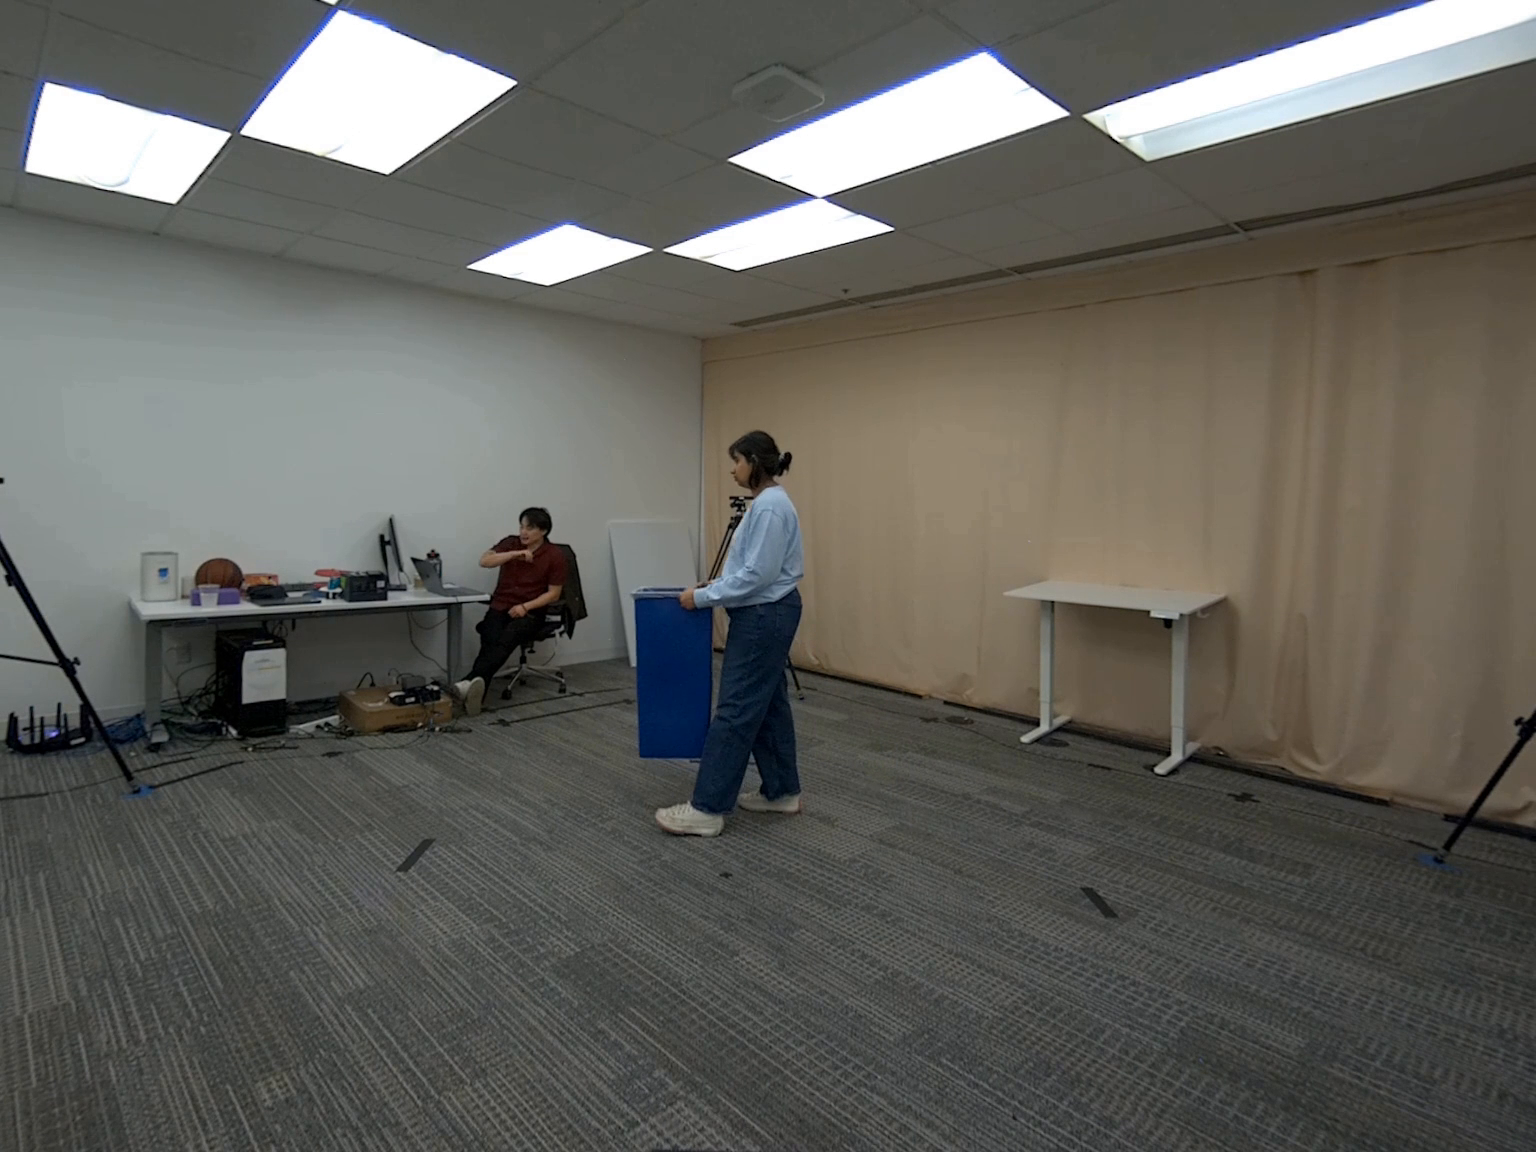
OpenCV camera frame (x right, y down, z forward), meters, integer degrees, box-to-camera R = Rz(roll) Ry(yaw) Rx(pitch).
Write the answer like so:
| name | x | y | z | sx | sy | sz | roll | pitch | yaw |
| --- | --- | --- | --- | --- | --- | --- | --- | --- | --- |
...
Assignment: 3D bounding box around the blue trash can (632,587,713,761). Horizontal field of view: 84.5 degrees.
| name | x | y | z | sx | sy | sz | roll | pitch | yaw |
| --- | --- | --- | --- | --- | --- | --- | --- | --- | --- |
| blue trash can | -0.418 | 0.416 | 3.733 | 0.373 | 0.713 | 0.378 | 0 | 0 | -2 |
